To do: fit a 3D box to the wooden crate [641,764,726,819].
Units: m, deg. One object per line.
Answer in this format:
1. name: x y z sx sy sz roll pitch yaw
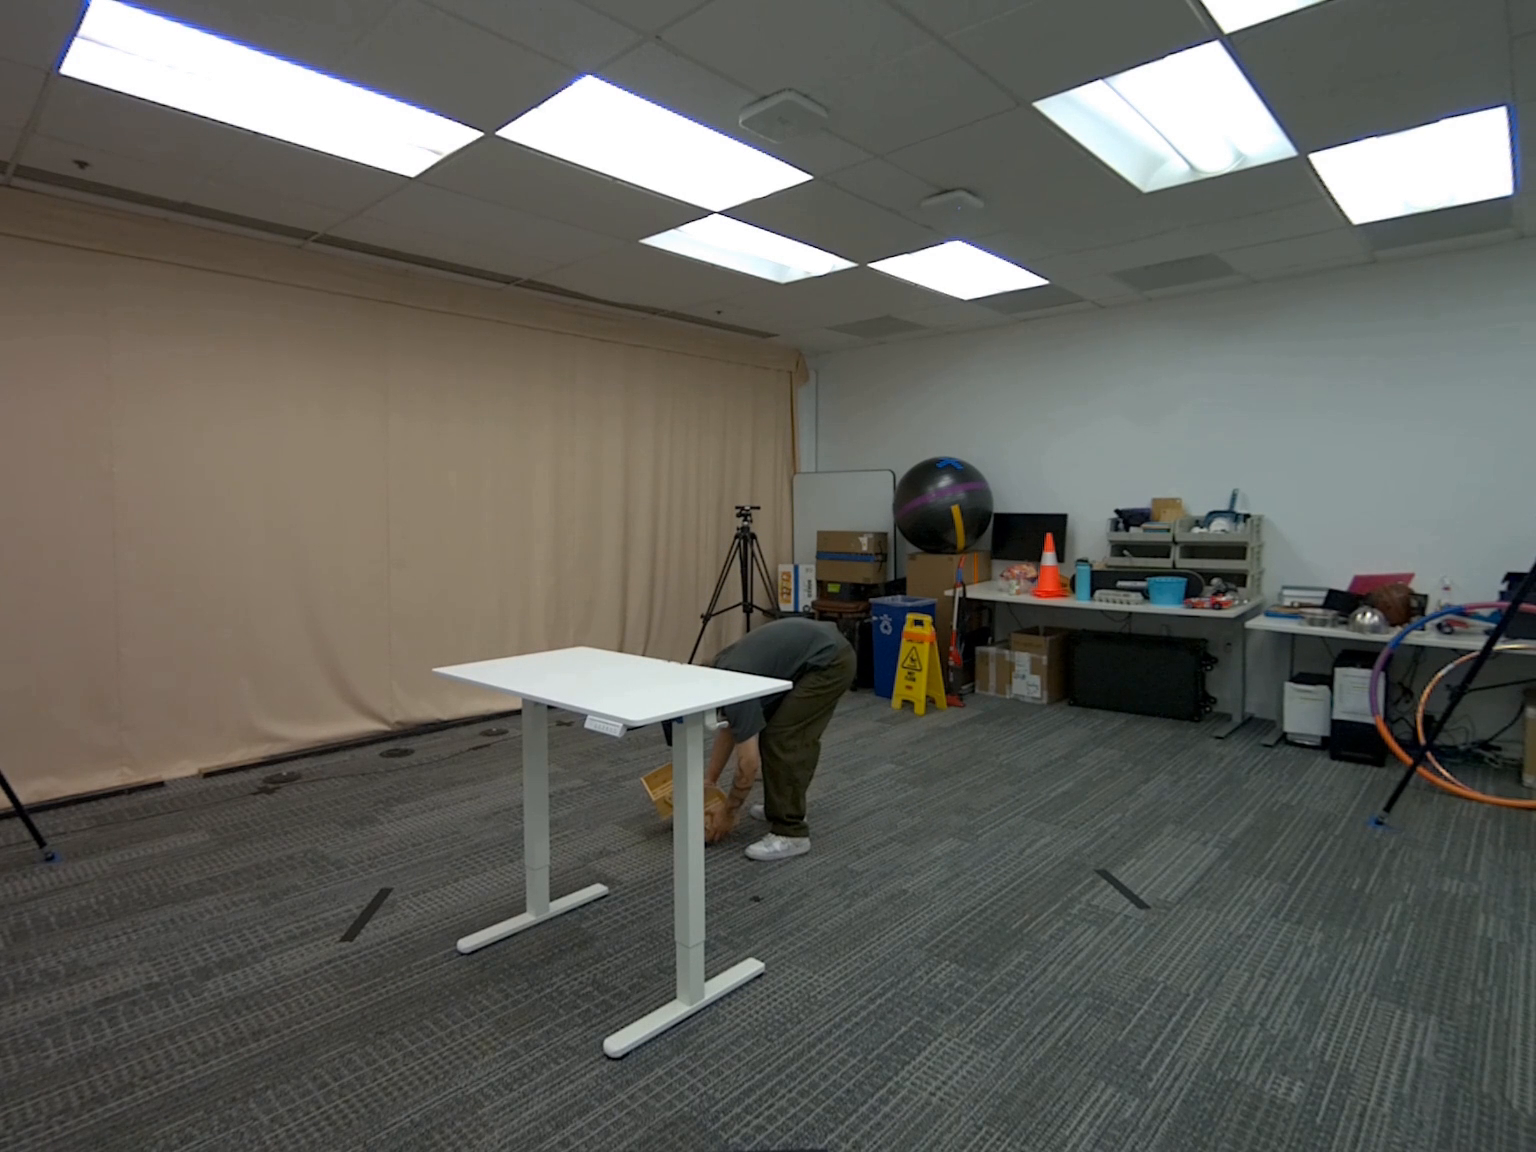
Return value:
1. wooden crate: -0.348 0.945 3.565 0.299 0.271 0.331 -25 11 -16
